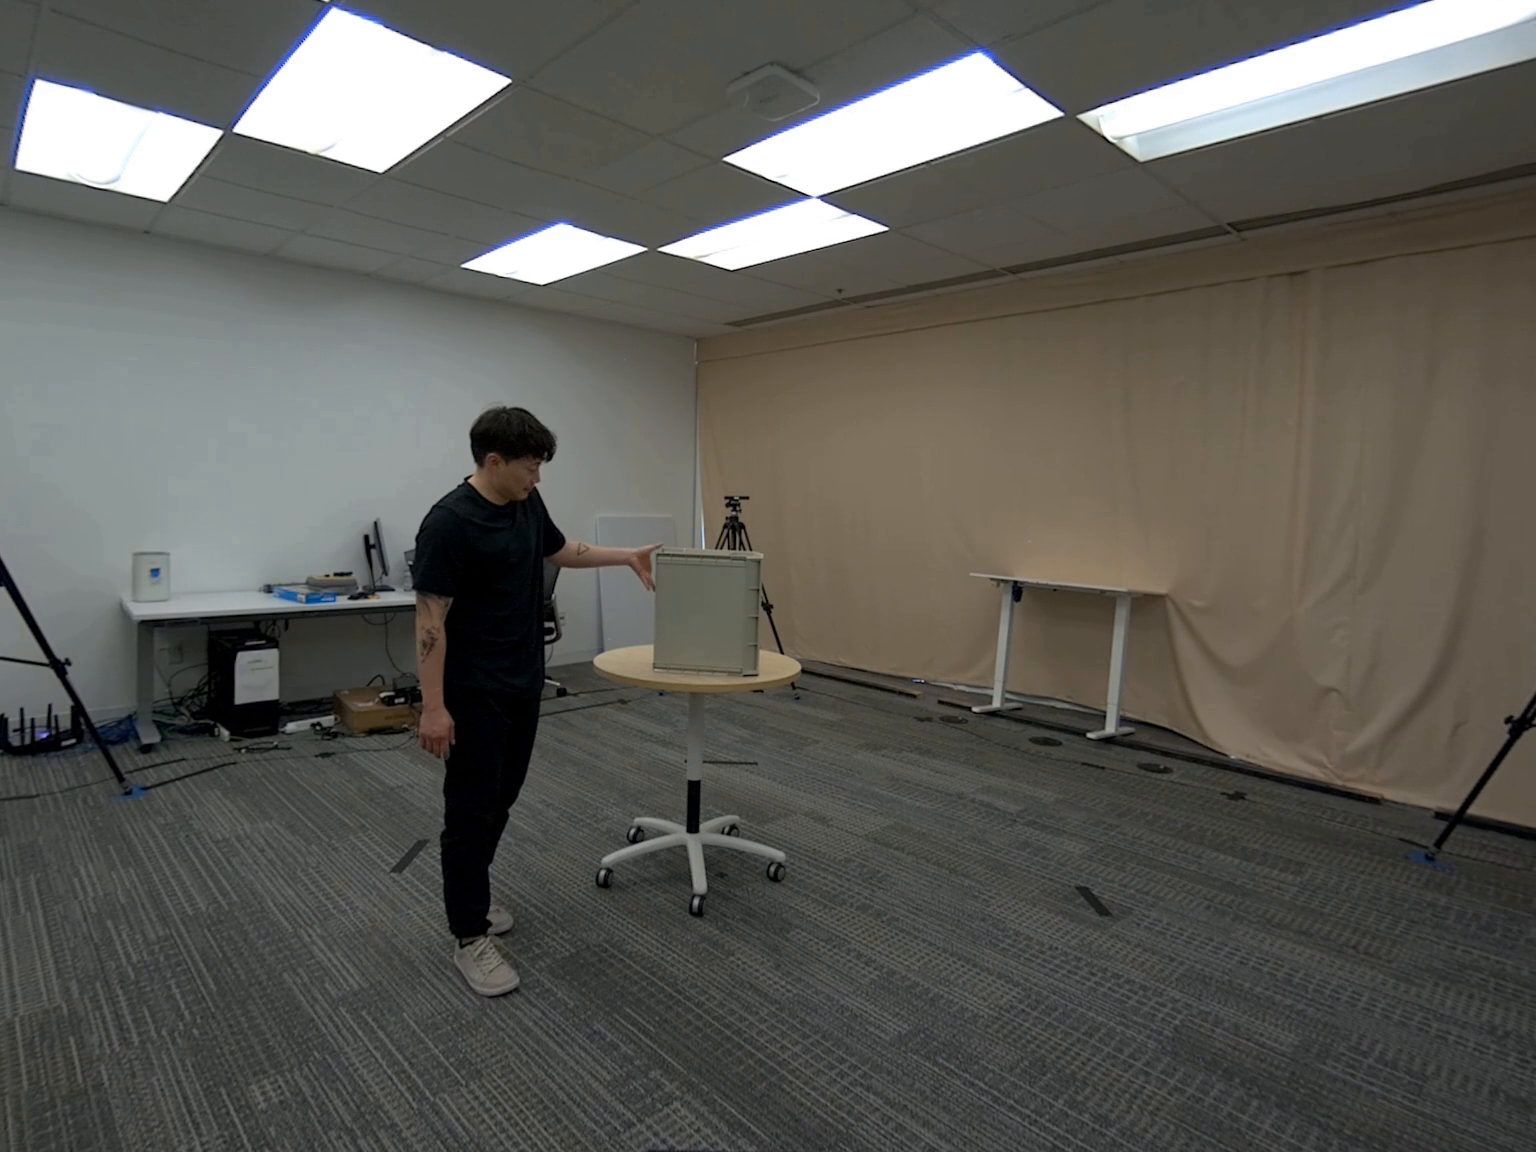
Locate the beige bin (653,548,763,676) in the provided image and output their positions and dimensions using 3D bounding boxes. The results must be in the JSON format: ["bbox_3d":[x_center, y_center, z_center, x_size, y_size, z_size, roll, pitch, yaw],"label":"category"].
[{"bbox_3d":[-0.213,0.123,2.955,0.379,0.421,0.189,3,4,5],"label":"beige bin"}]
